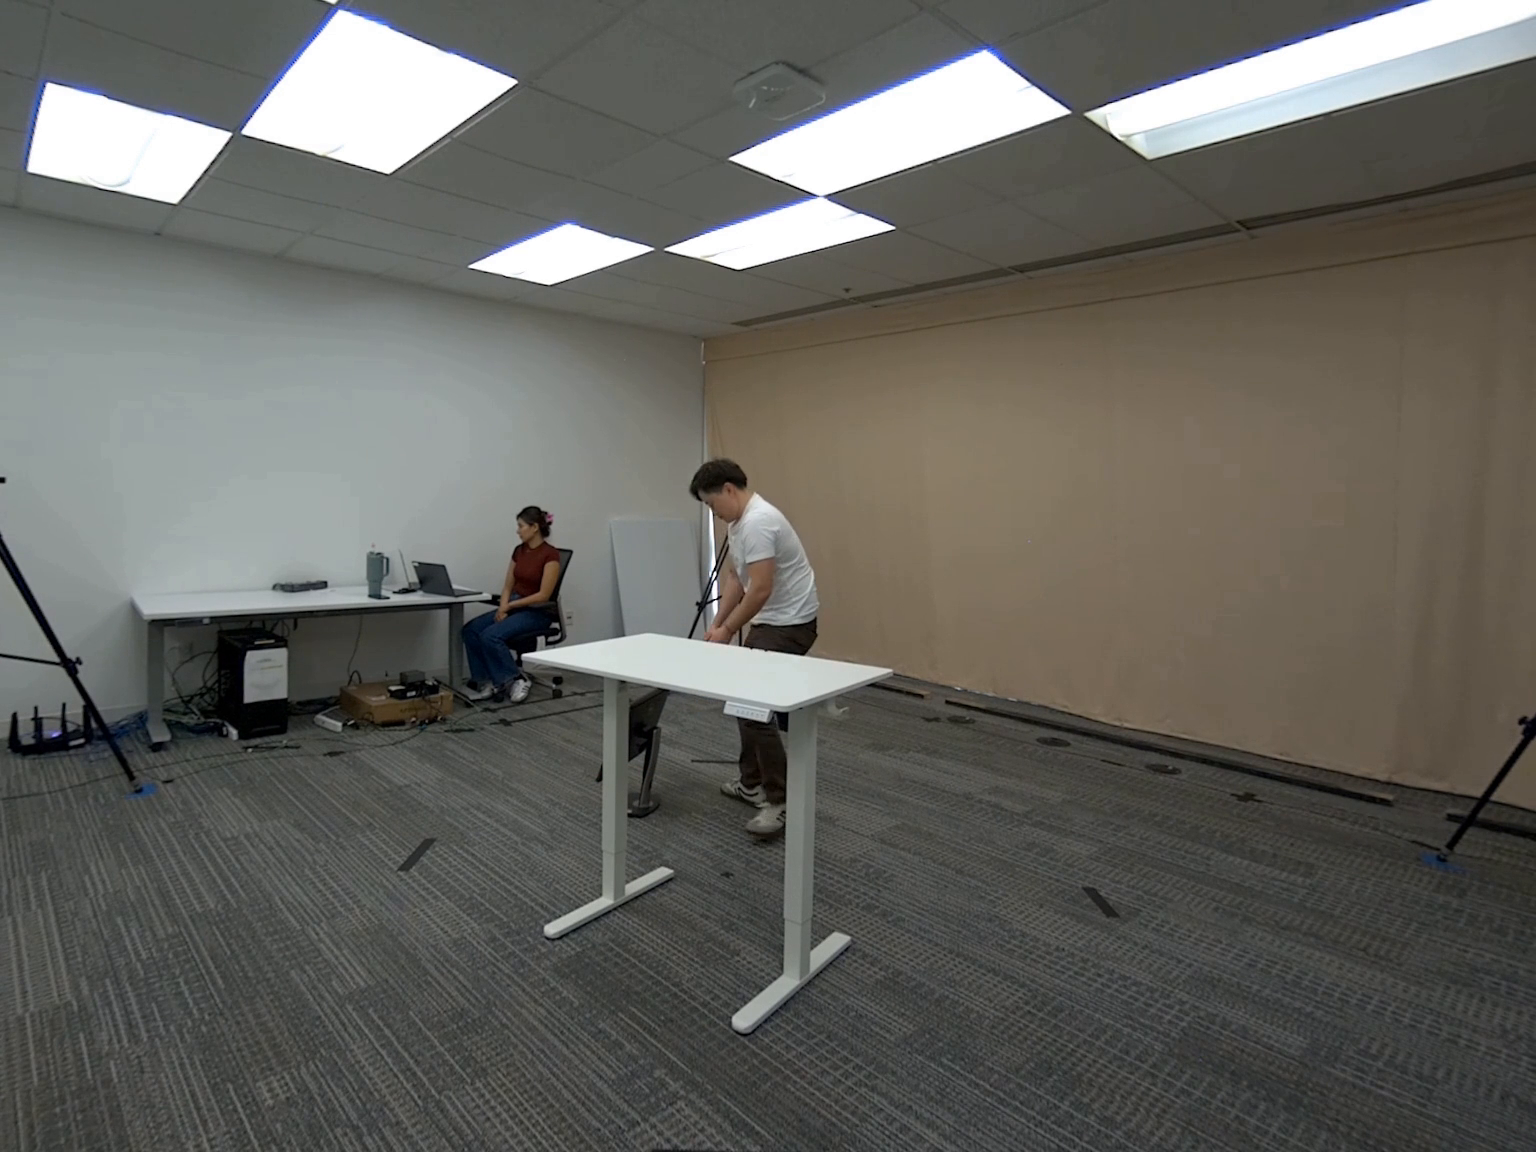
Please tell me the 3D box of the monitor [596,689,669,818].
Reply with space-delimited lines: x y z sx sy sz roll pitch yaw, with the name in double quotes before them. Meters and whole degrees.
"monitor" -0.569 0.774 3.763 0.189 0.522 0.534 5 3 11
